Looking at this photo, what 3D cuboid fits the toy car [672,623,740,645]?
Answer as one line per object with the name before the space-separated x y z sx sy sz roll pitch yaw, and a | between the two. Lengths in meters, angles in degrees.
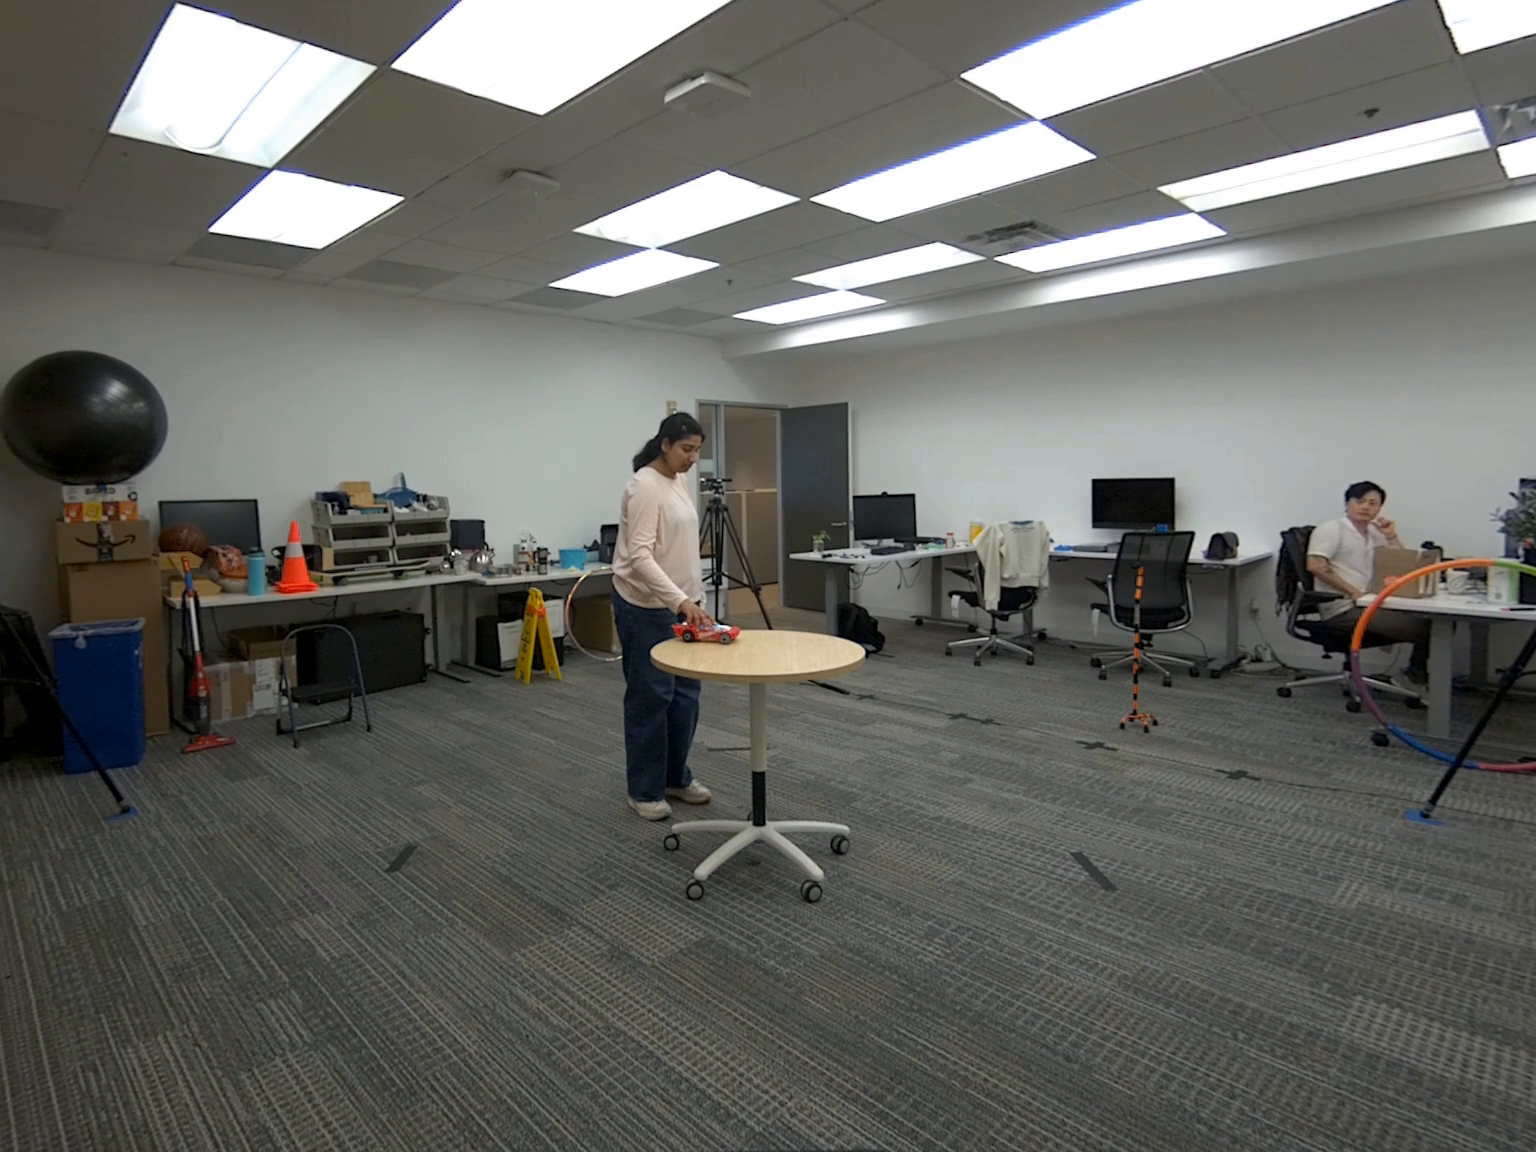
toy car | -0.229 0.213 3.236 0.258 0.083 0.129 11 6 11
